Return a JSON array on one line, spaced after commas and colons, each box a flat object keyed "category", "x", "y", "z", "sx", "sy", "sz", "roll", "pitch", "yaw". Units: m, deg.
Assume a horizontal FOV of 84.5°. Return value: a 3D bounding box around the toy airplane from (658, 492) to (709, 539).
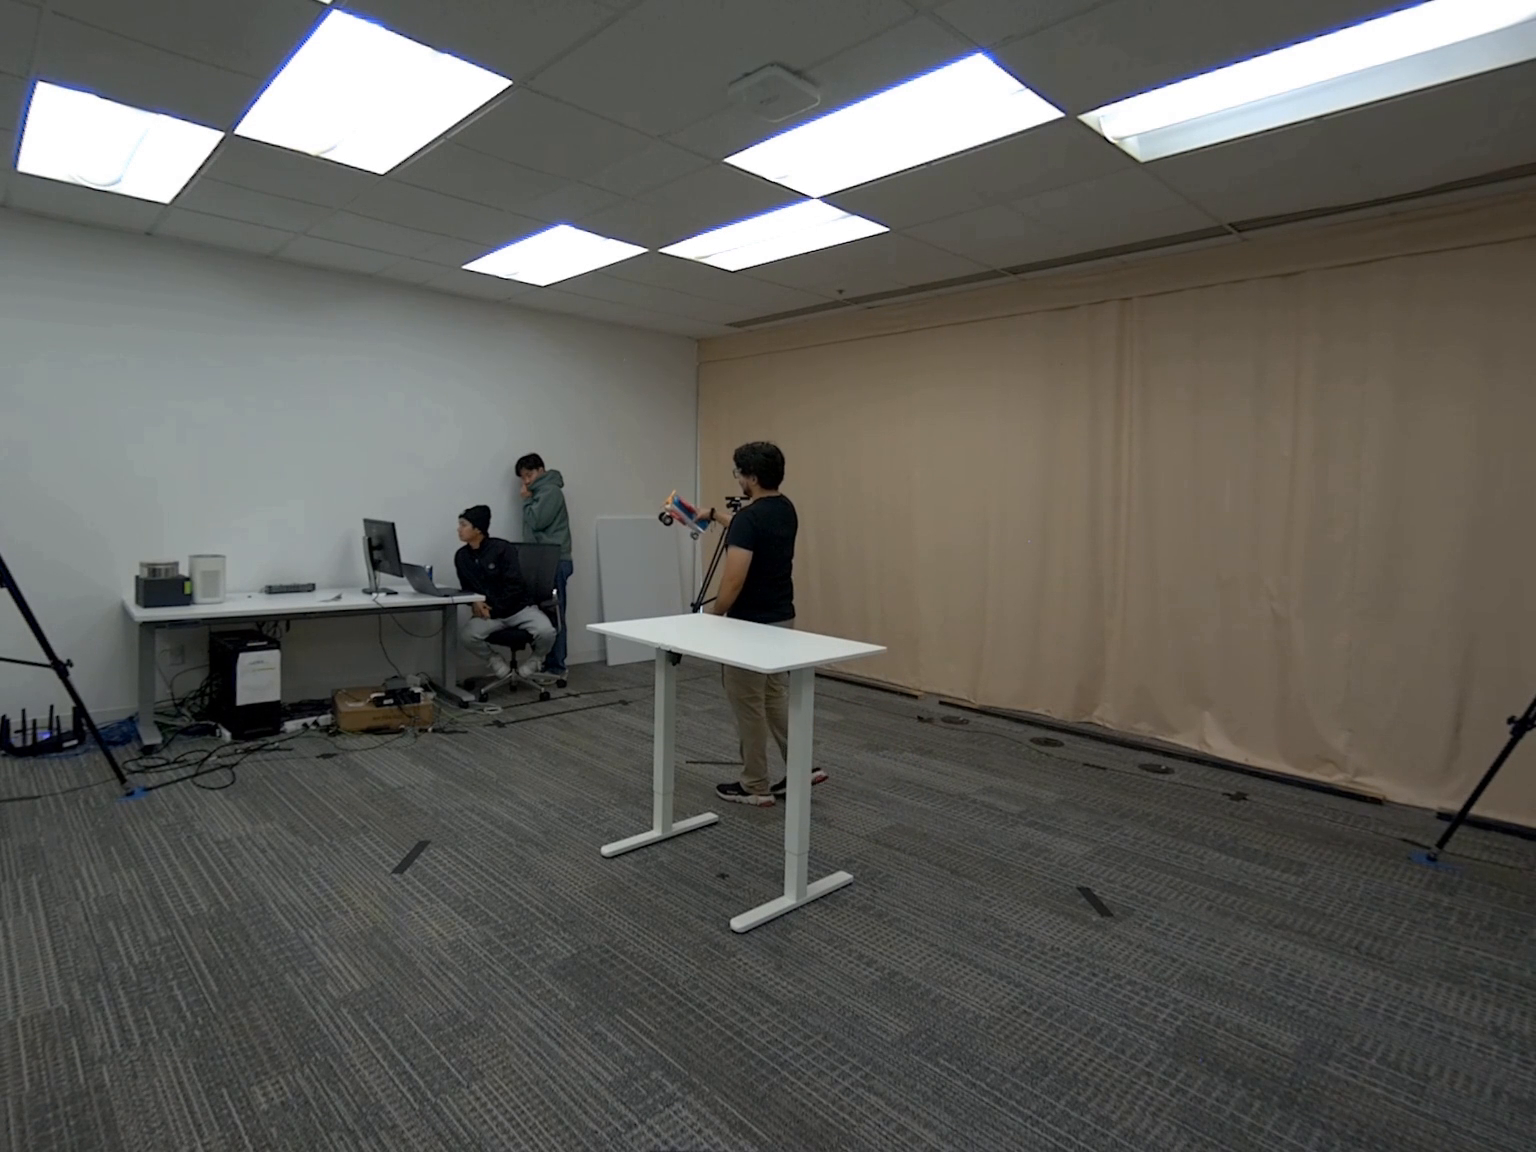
[{"category": "toy airplane", "x": -0.440, "y": -0.301, "z": 4.246, "sx": 0.259, "sy": 0.156, "sz": 0.251, "roll": 32, "pitch": 6, "yaw": 40}]
